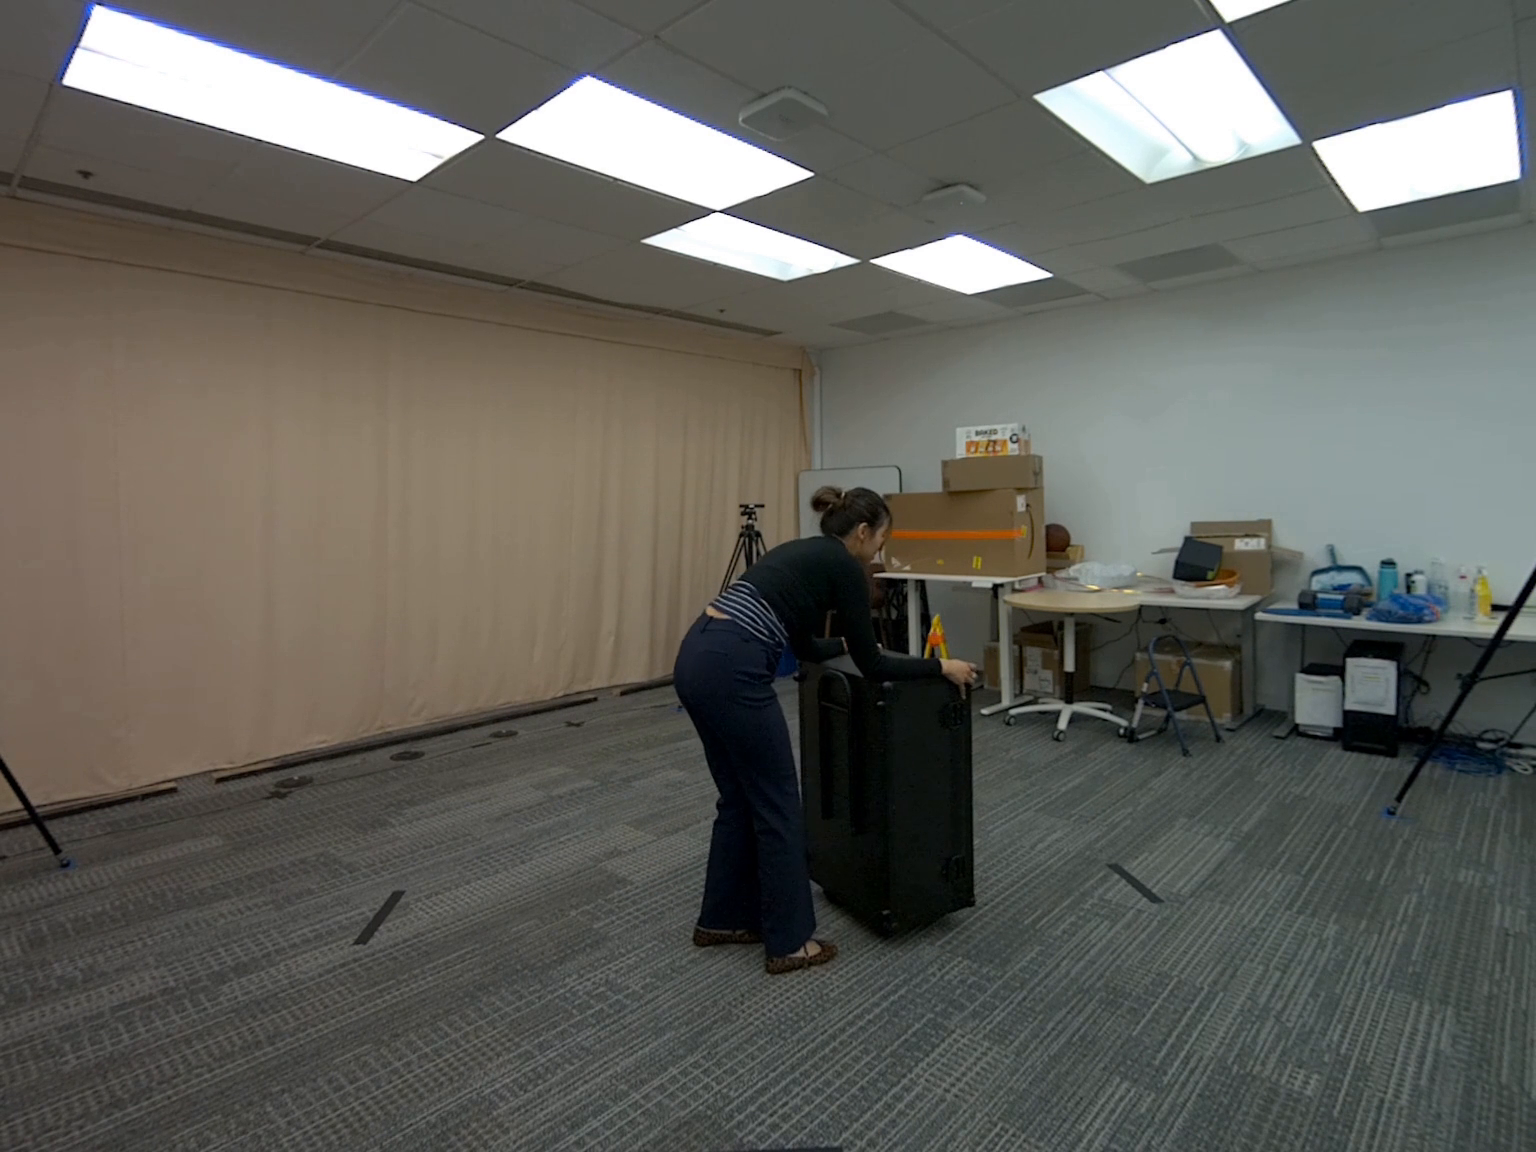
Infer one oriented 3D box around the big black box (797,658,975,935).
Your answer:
[{"bbox_3d":[0.392,0.721,2.842,0.386,0.858,0.537,-5,6,-31],"label":"big black box"}]
